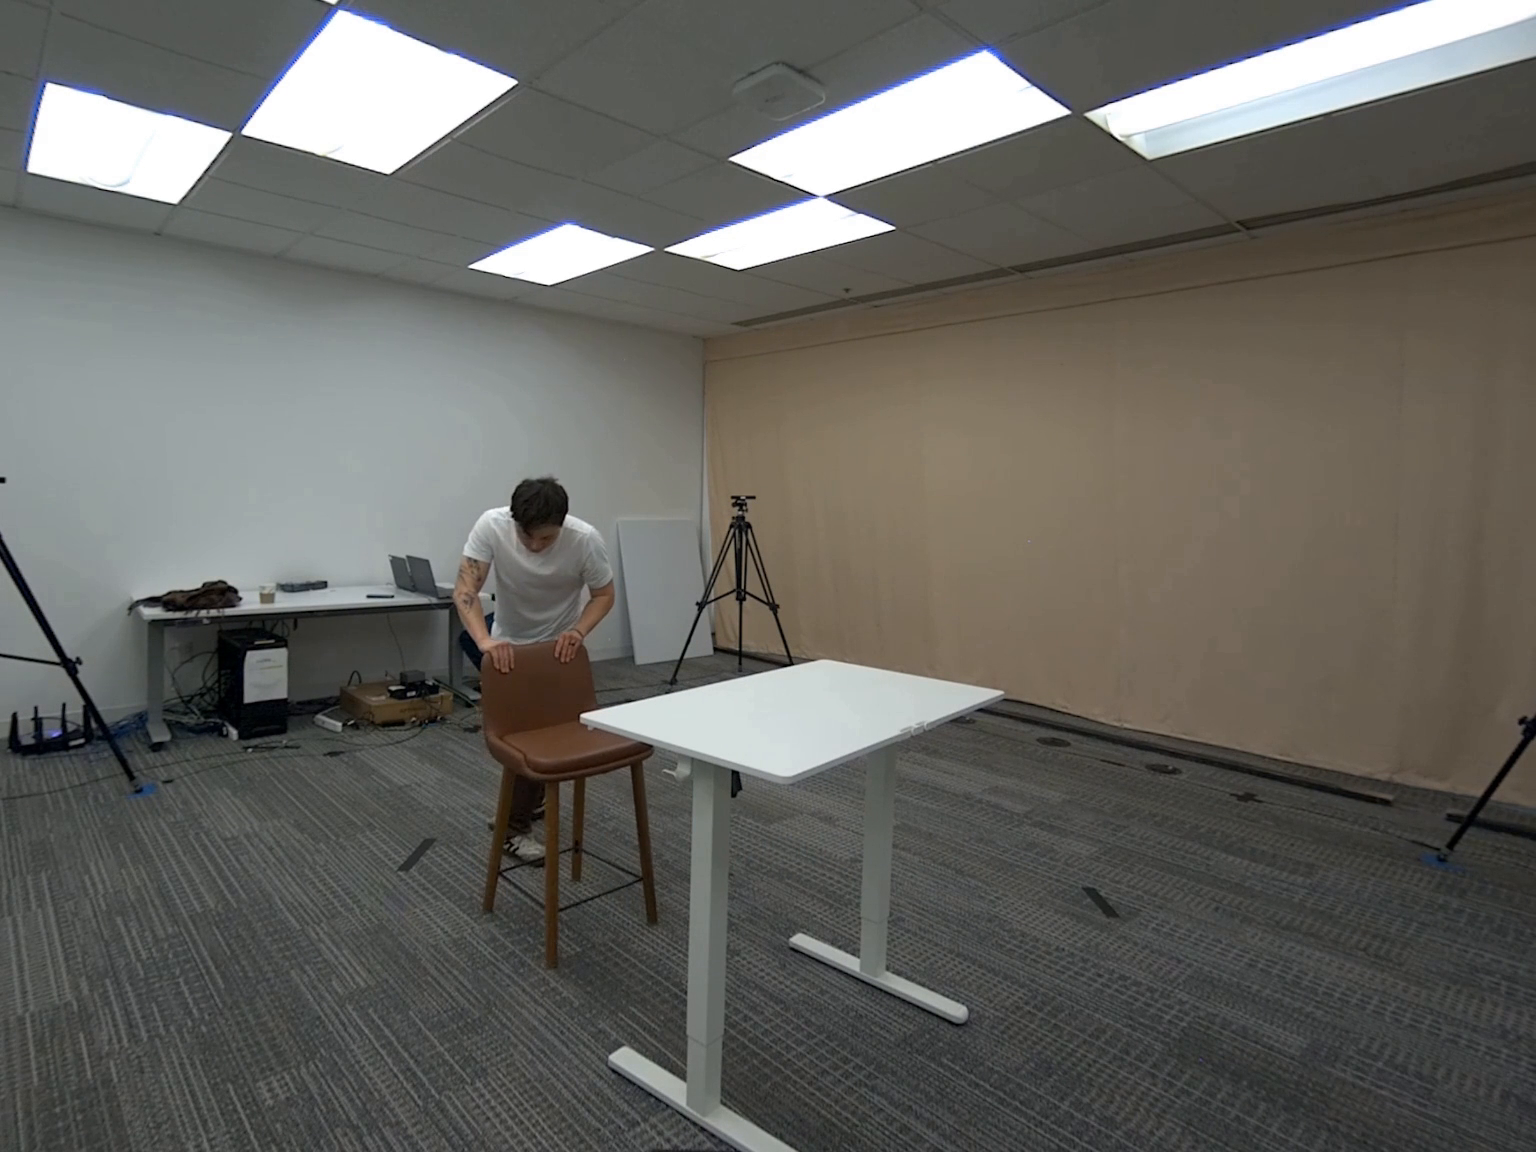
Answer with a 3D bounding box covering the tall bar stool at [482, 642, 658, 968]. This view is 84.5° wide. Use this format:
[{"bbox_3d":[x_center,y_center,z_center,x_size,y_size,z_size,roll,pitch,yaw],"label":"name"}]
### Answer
[{"bbox_3d":[-0.663,0.686,2.741,0.446,0.888,0.479,-2,3,-44],"label":"tall bar stool"}]
